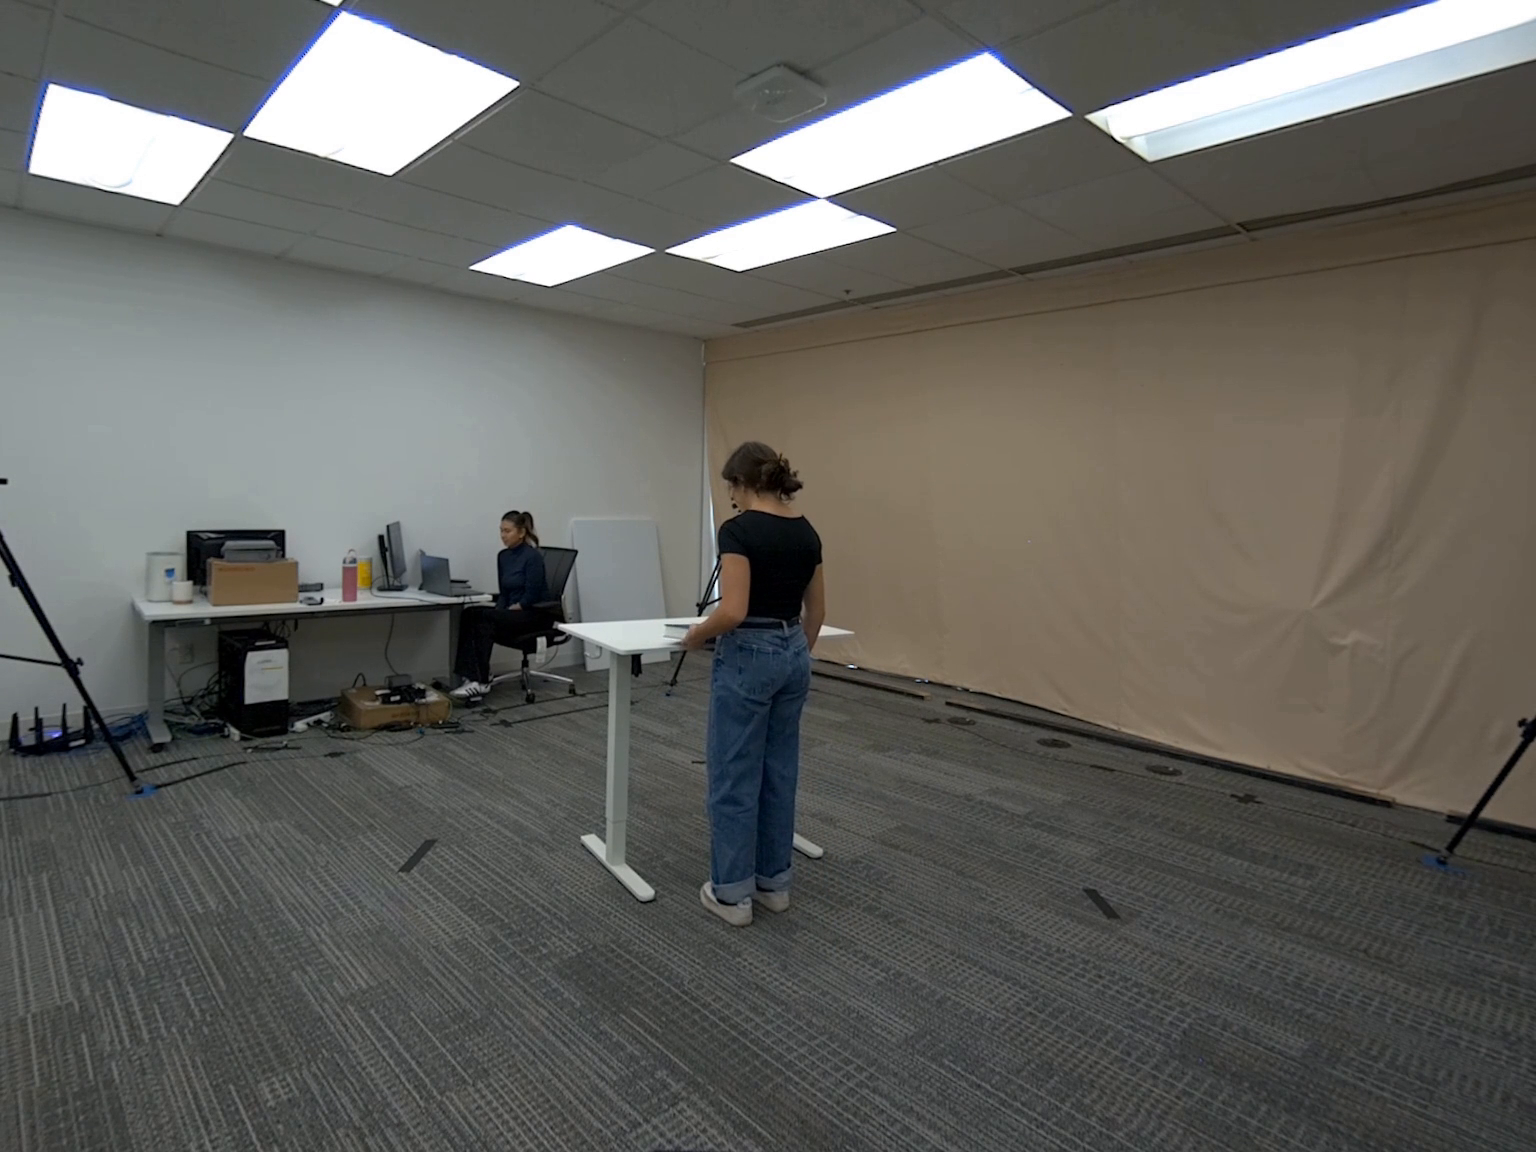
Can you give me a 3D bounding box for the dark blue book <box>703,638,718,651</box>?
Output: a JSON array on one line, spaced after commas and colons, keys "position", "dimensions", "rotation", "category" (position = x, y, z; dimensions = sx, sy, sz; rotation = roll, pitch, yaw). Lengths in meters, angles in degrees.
[{"position": [-0.228, 0.203, 2.965], "dimensions": [0.167, 0.045, 0.240], "rotation": [7, 1, 25], "category": "dark blue book"}]
